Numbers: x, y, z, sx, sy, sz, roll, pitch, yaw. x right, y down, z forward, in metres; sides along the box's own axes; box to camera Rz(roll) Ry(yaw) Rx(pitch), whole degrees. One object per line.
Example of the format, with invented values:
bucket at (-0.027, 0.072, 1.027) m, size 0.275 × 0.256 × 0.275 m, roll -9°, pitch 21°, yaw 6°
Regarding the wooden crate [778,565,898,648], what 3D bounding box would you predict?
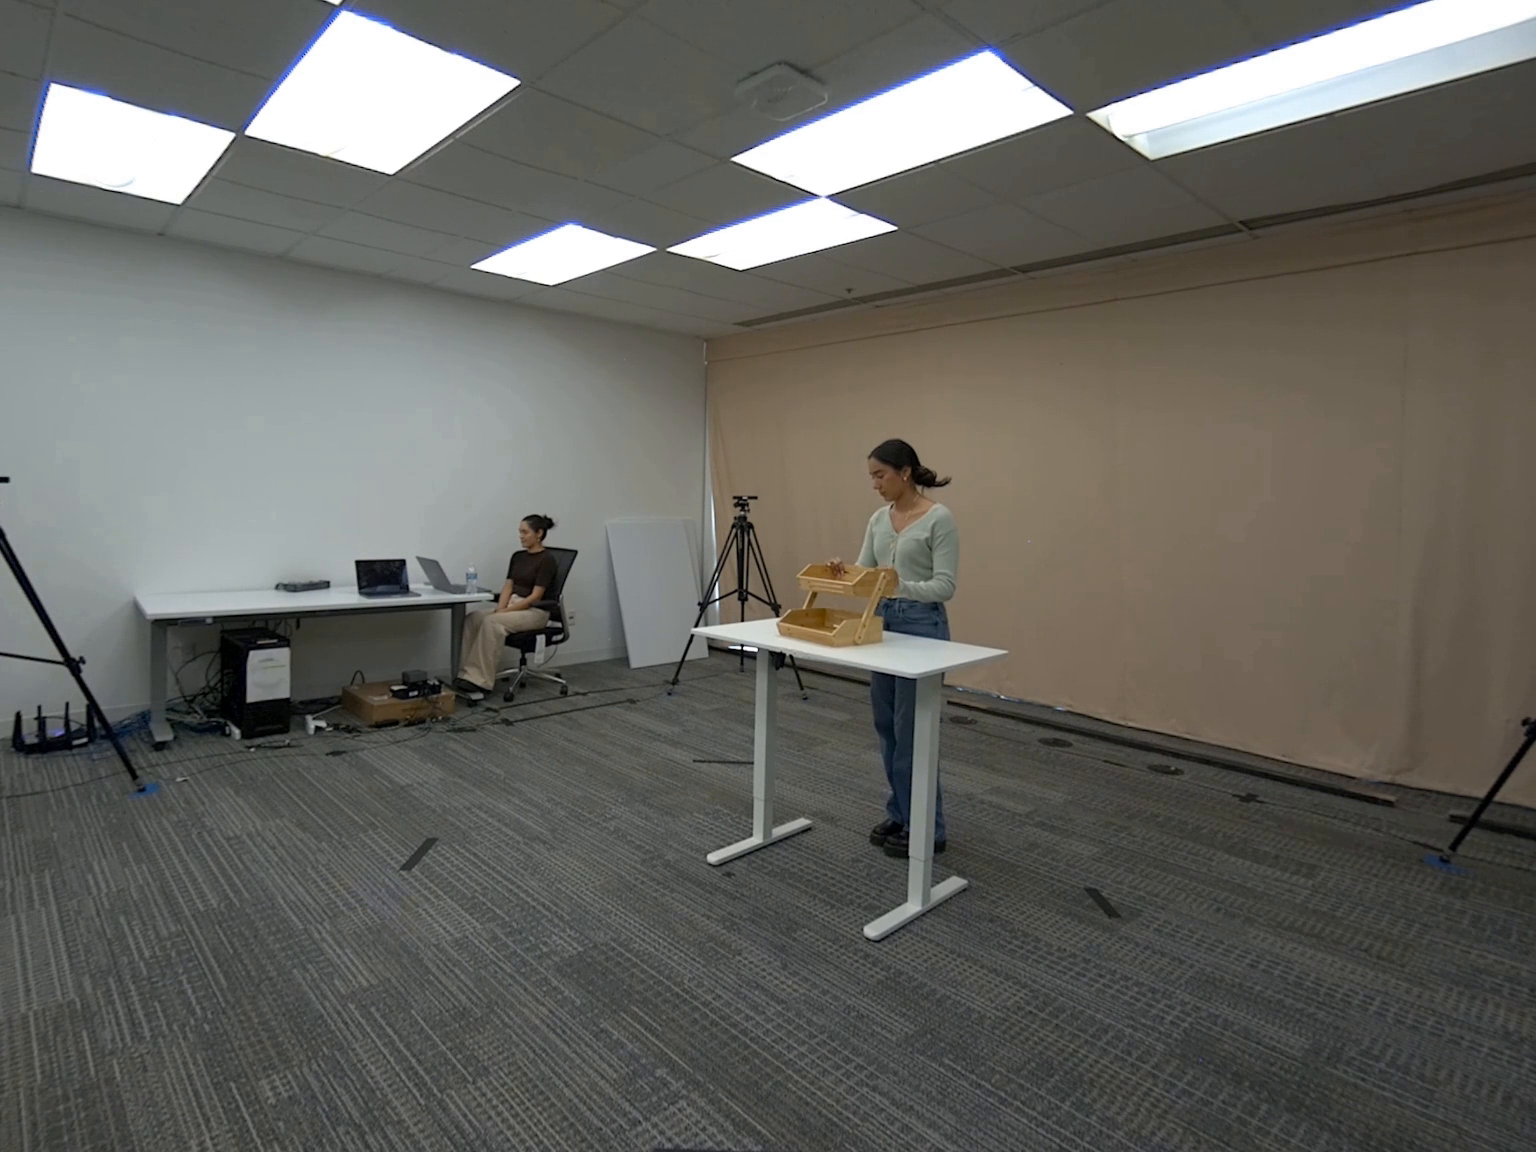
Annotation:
wooden crate at (0.240, 0.099, 3.093) m, size 0.295 × 0.272 × 0.333 m, roll -1°, pitch 5°, yaw -38°
